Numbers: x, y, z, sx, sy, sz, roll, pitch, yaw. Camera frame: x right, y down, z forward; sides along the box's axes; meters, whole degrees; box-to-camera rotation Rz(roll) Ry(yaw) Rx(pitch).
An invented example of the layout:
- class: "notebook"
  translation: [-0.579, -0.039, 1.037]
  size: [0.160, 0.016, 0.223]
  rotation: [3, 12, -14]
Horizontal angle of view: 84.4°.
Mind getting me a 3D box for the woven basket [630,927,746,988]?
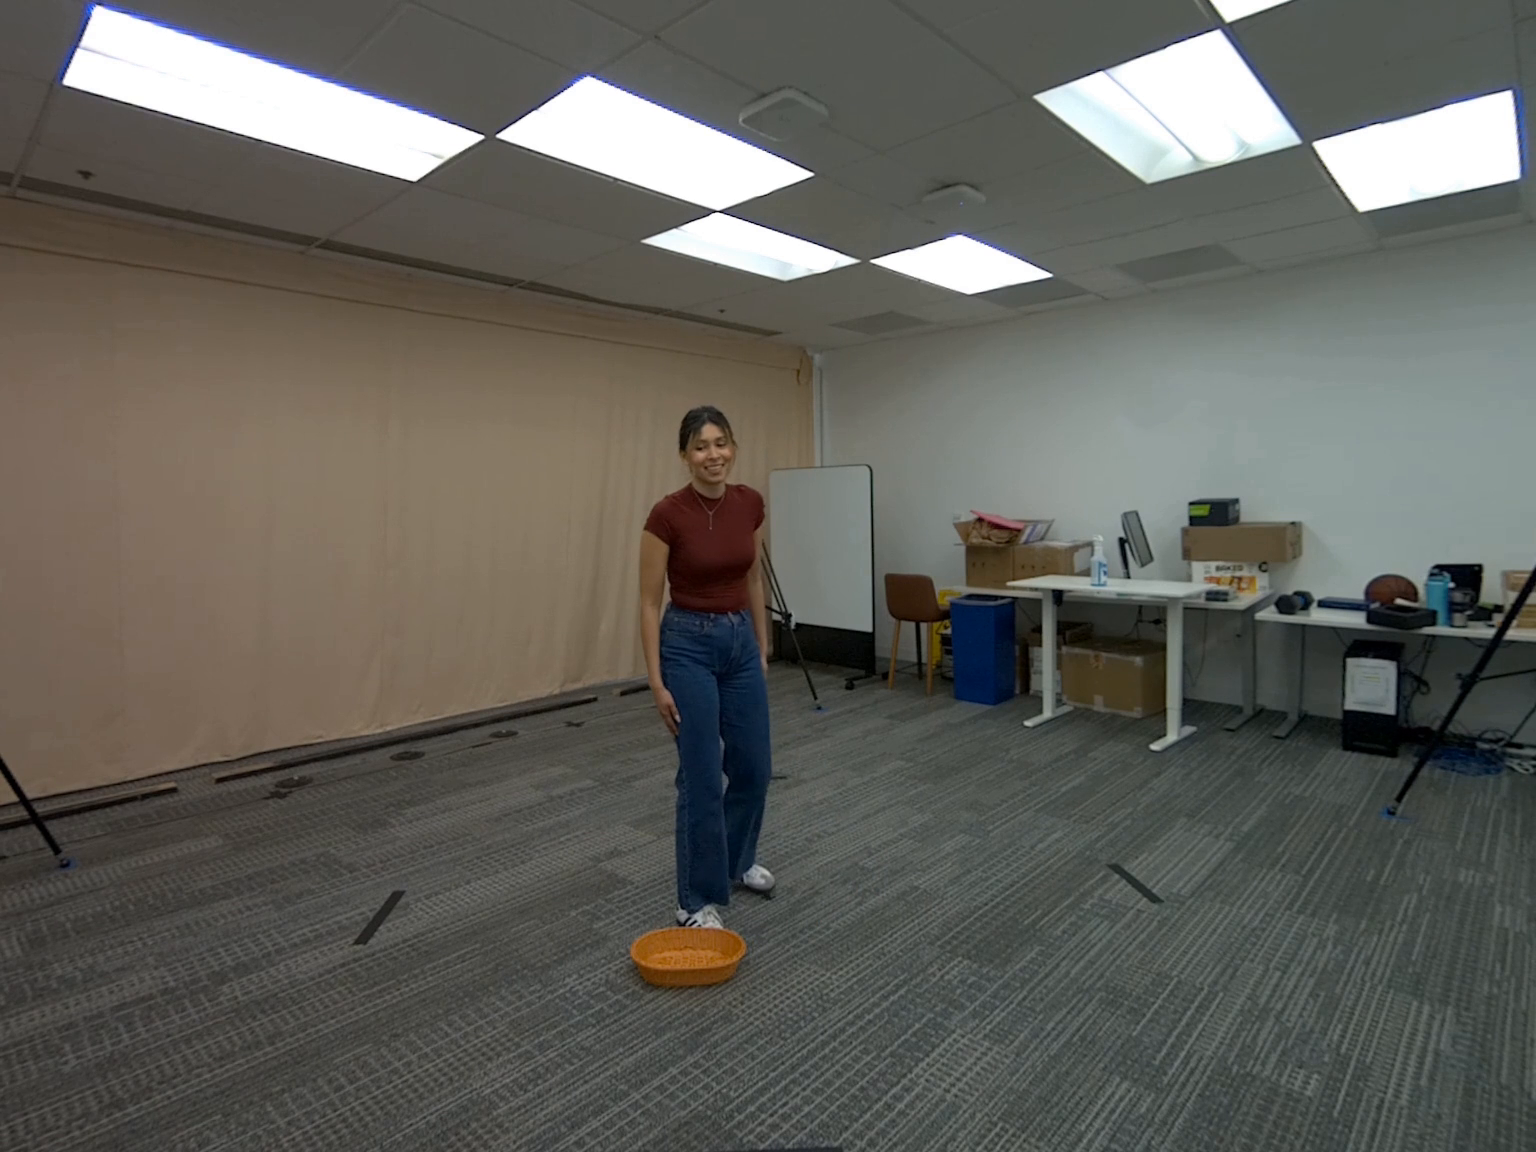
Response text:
- class: "woven basket"
  translation: [-0.236, 1.137, 2.529]
  size: [0.350, 0.073, 0.253]
  rotation: [-1, 4, -1]
